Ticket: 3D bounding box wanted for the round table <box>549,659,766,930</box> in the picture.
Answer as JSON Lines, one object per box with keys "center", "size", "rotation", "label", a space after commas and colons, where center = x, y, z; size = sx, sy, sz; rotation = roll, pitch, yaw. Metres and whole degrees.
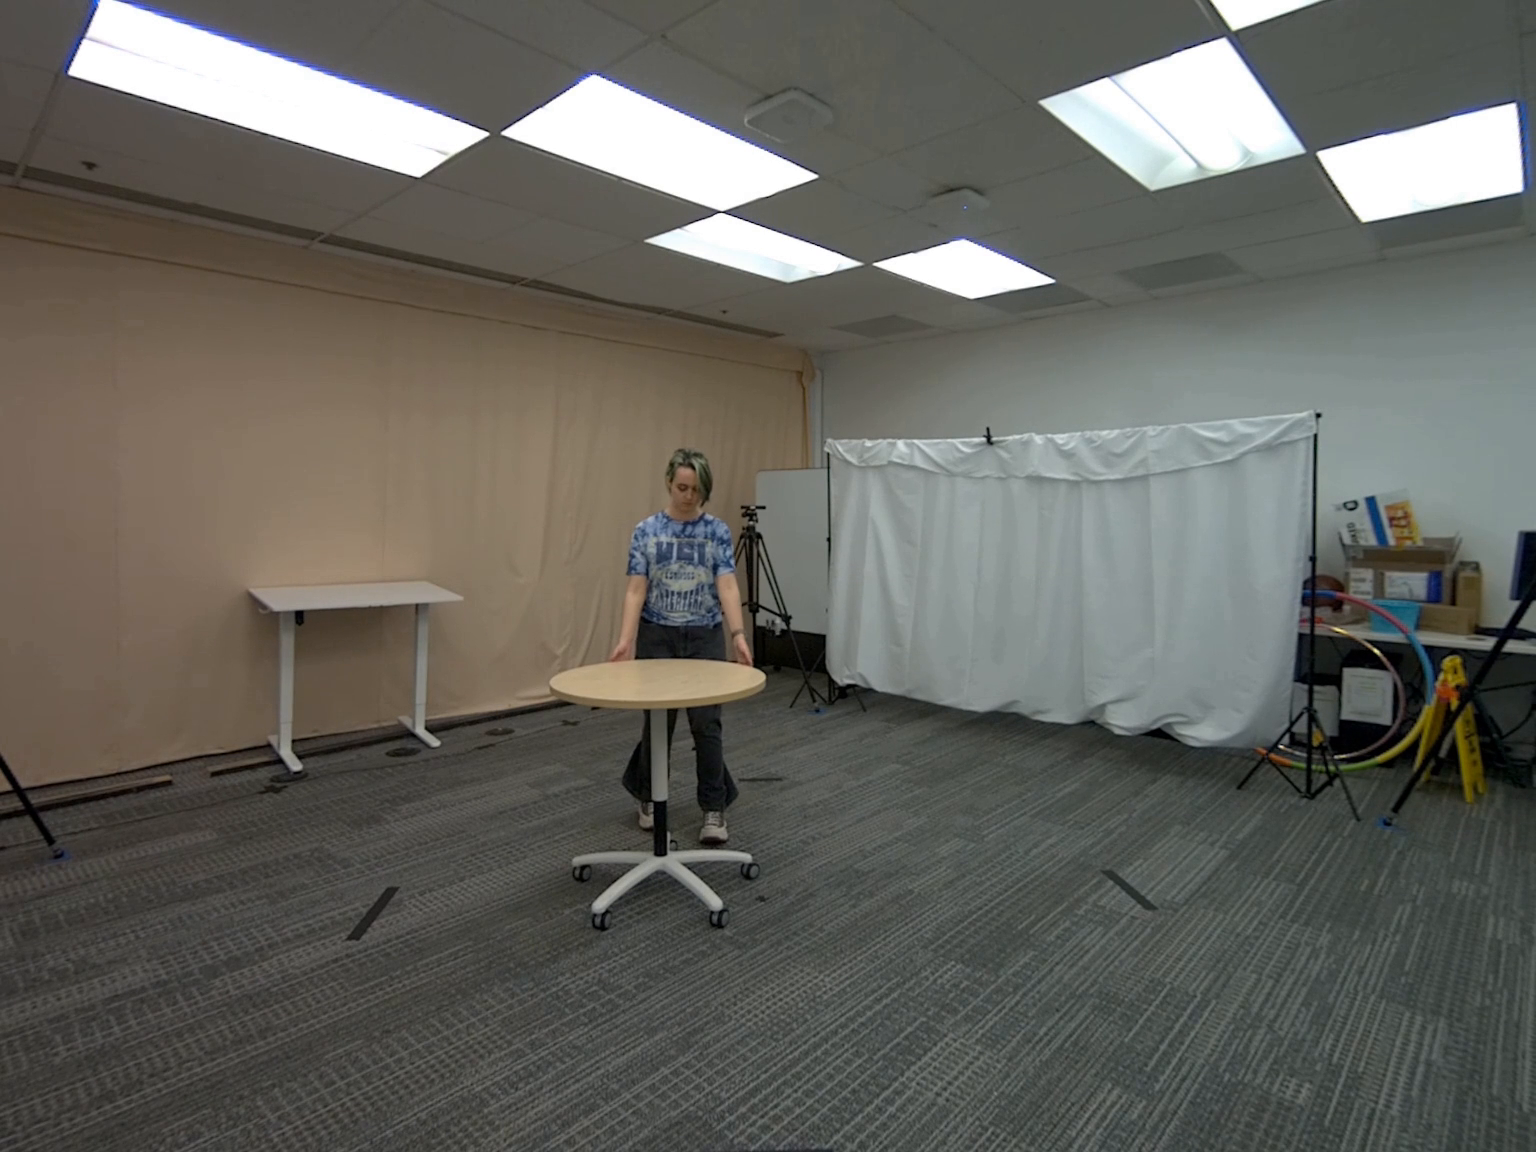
{"center": [-0.376, 0.752, 3.021], "size": [0.763, 0.792, 0.766], "rotation": [-1, 3, -2], "label": "round table"}
